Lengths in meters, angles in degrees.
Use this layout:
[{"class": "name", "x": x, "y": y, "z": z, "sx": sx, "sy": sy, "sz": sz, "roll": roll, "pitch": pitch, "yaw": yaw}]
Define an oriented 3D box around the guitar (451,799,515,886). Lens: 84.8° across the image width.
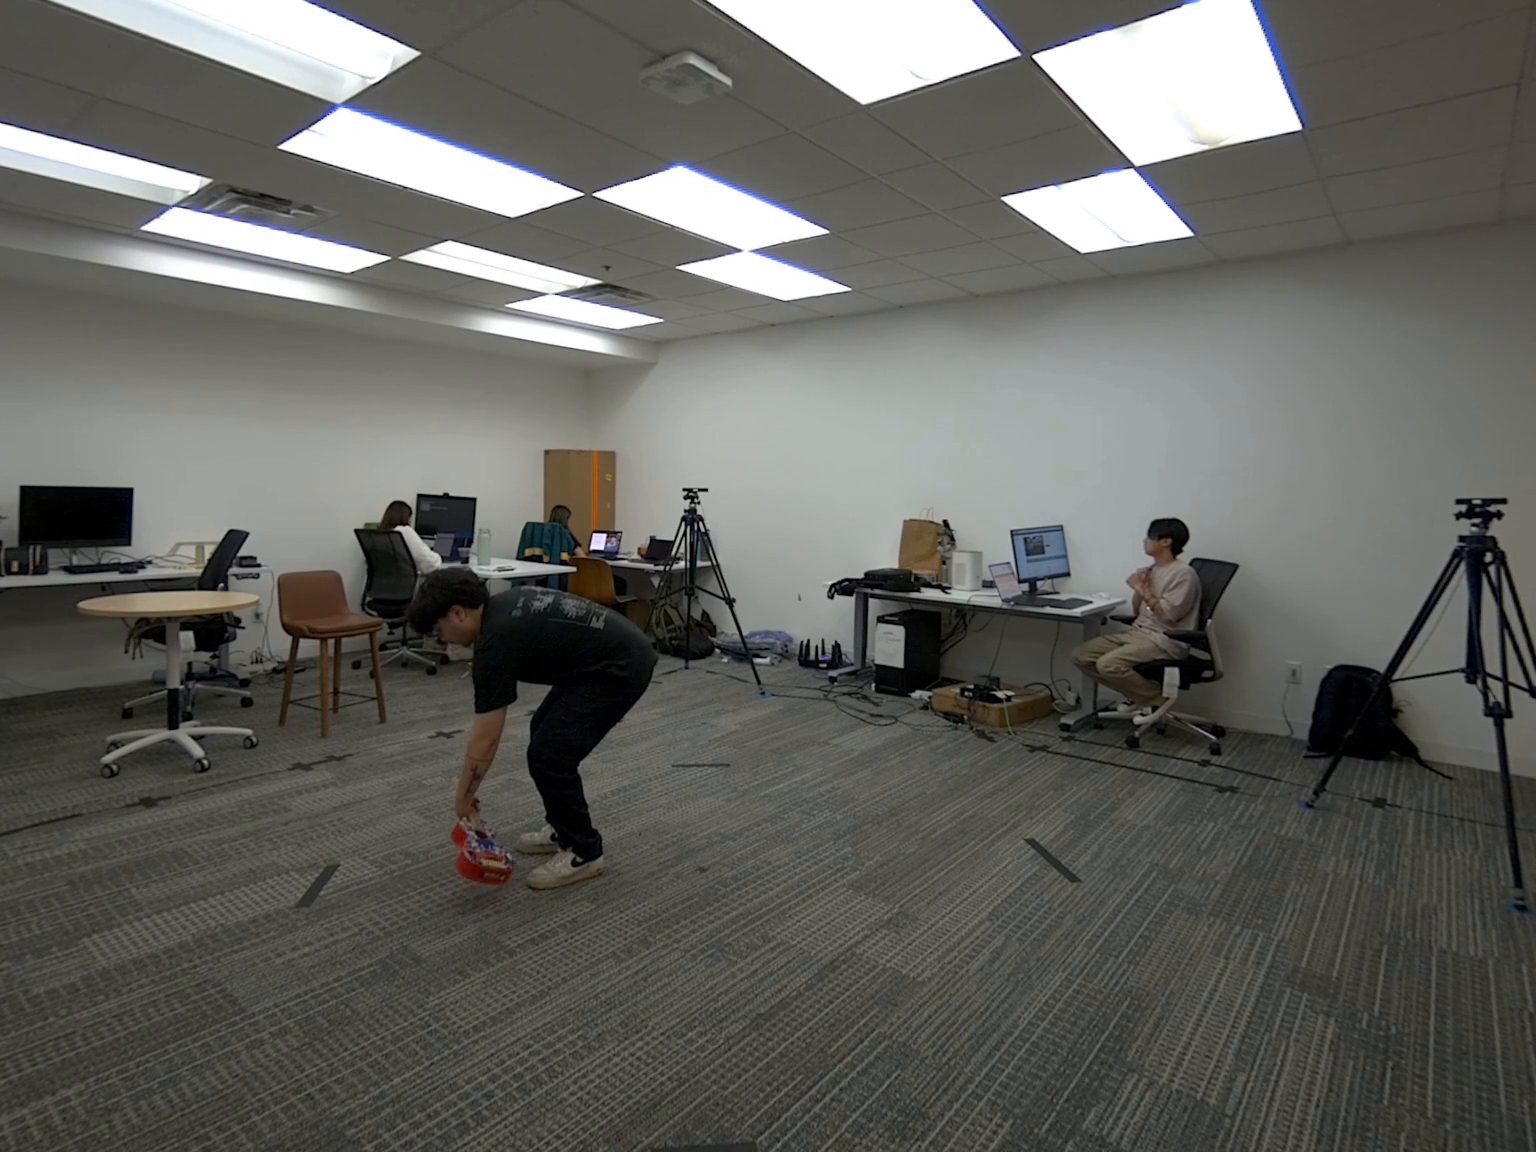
[{"class": "guitar", "x": -1.008, "y": 0.877, "z": 2.953, "sx": 0.186, "sy": 0.070, "sz": 0.516, "roll": 26, "pitch": 8, "yaw": -30}]
